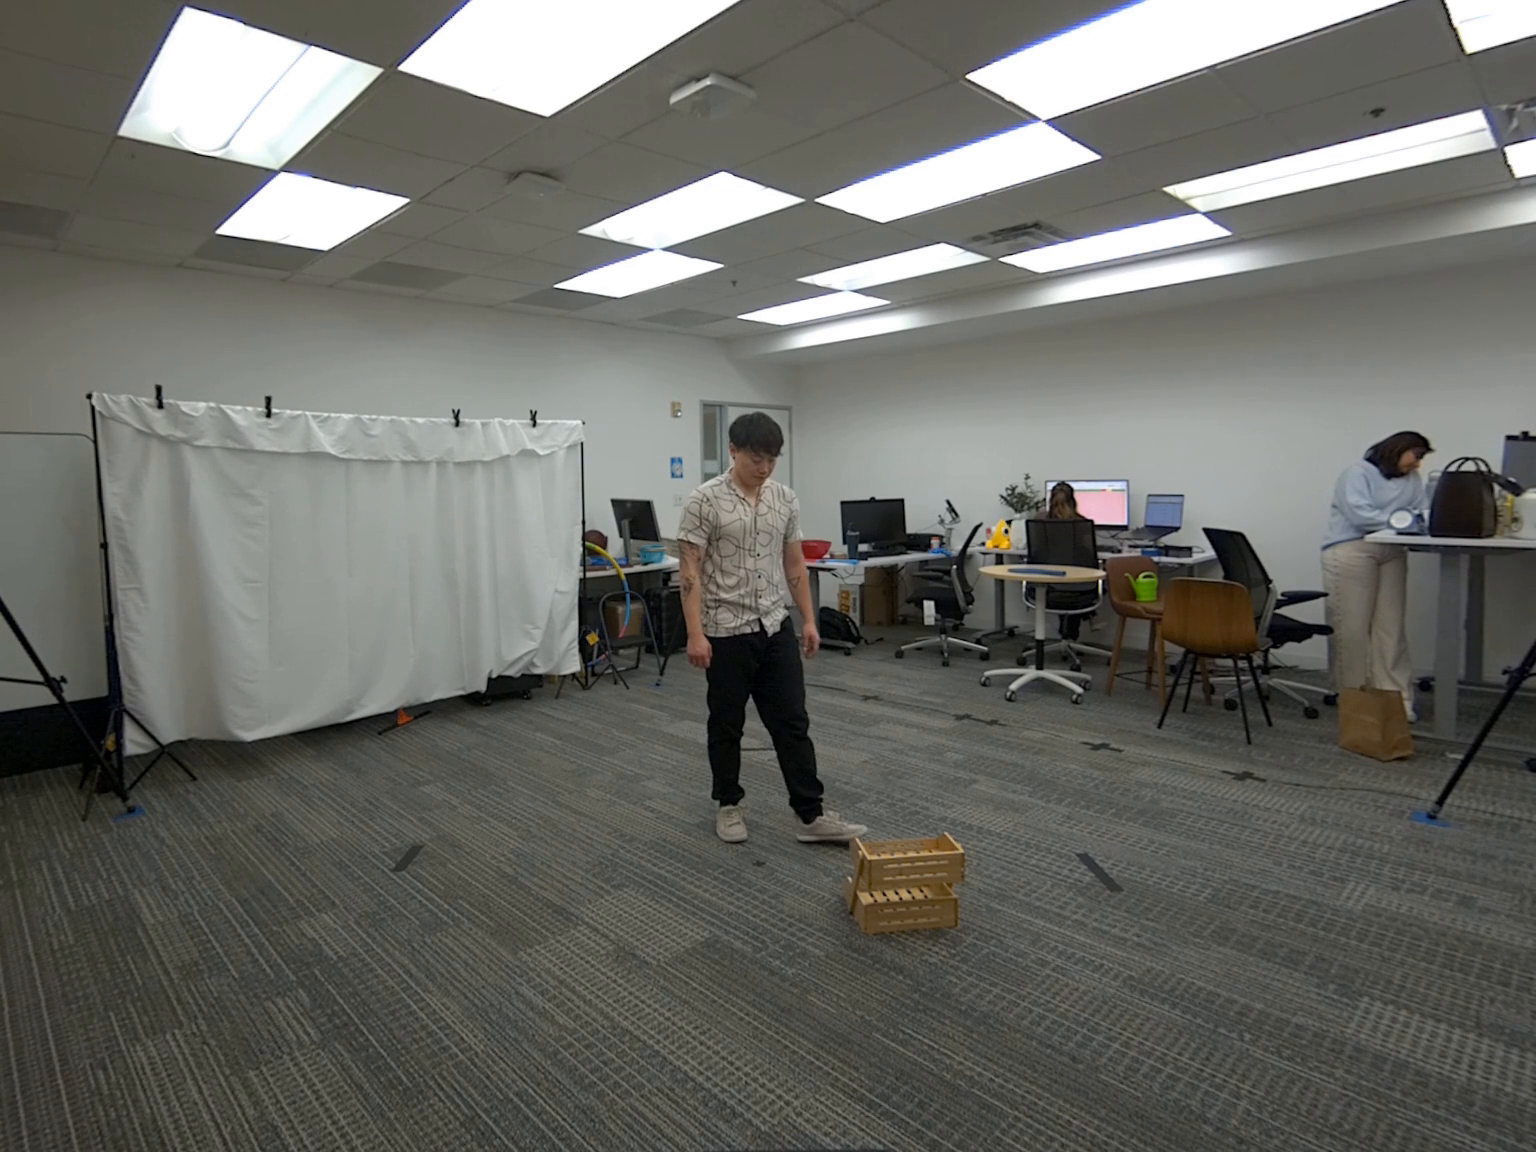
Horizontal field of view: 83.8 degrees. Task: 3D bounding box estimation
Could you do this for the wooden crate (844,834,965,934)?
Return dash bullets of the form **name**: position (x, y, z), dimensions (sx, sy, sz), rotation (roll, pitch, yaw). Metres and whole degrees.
- **wooden crate**: position (0.426, 0.946, 2.724), dimensions (0.322, 0.272, 0.306), rotation (-2, 5, -9)
